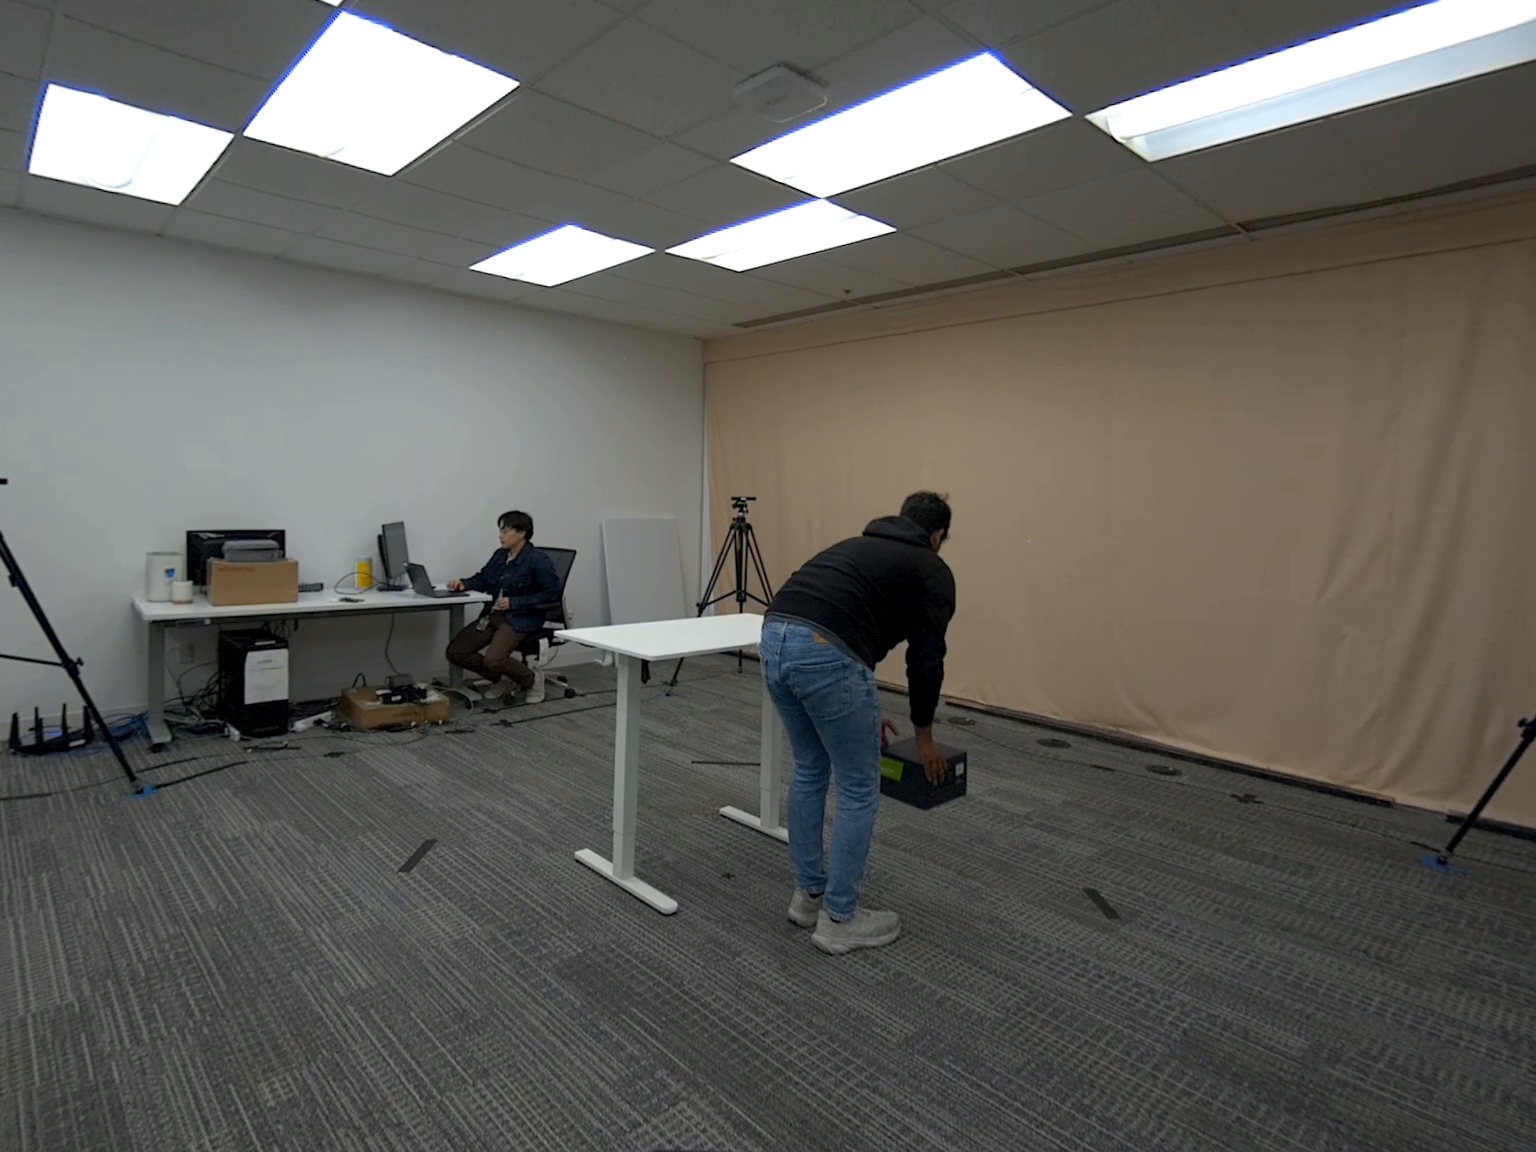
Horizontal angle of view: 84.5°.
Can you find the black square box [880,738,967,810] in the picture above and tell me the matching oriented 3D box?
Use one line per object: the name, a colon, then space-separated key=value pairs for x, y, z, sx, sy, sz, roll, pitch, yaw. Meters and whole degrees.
black square box: x=0.524 y=0.680 z=2.909 sx=0.212 sy=0.155 sz=0.234 roll=-7 pitch=8 yaw=-39
